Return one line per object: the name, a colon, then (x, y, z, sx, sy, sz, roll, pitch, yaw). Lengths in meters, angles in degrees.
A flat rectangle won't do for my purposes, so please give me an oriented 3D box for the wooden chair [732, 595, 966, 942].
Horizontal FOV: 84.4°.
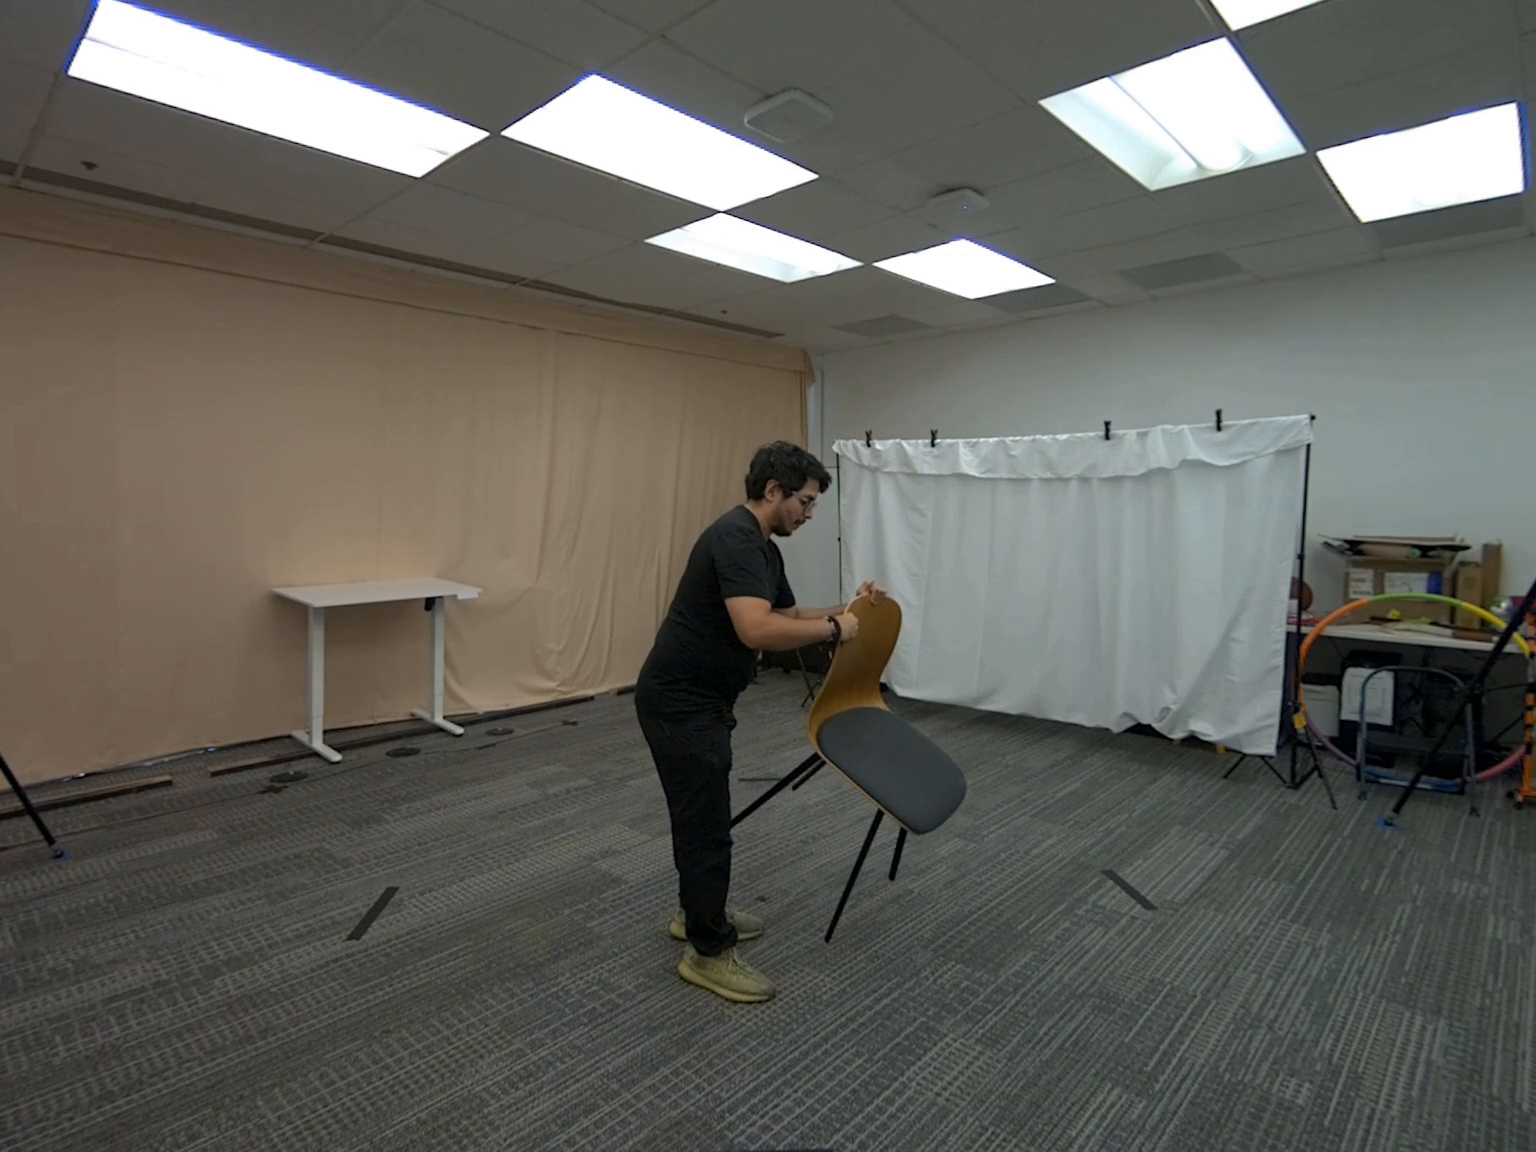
wooden chair: (0.332, 0.564, 2.533, 0.539, 0.874, 0.465, 34, 23, 26)
